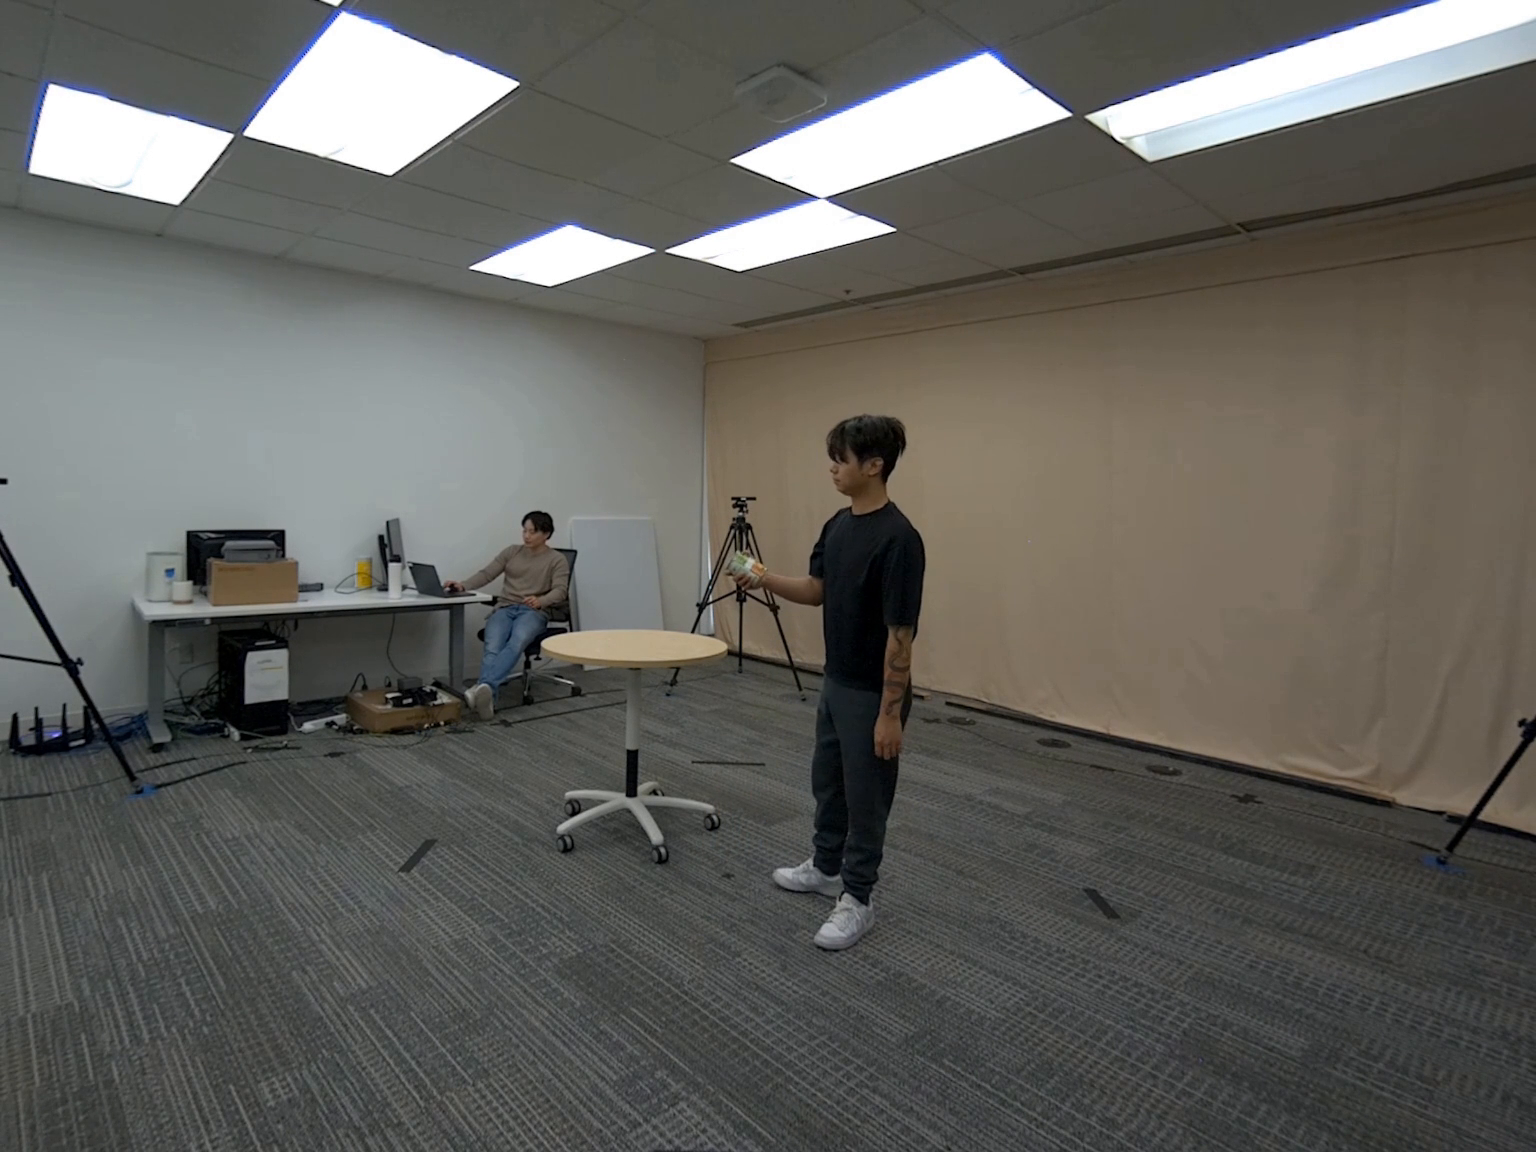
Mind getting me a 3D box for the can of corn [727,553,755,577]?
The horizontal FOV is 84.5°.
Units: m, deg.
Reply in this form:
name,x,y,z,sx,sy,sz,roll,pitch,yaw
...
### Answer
name,x,y,z,sx,sy,sz,roll,pitch,yaw
can of corn,-0.081,-0.033,2.692,0.111,0.074,0.074,20,4,0
